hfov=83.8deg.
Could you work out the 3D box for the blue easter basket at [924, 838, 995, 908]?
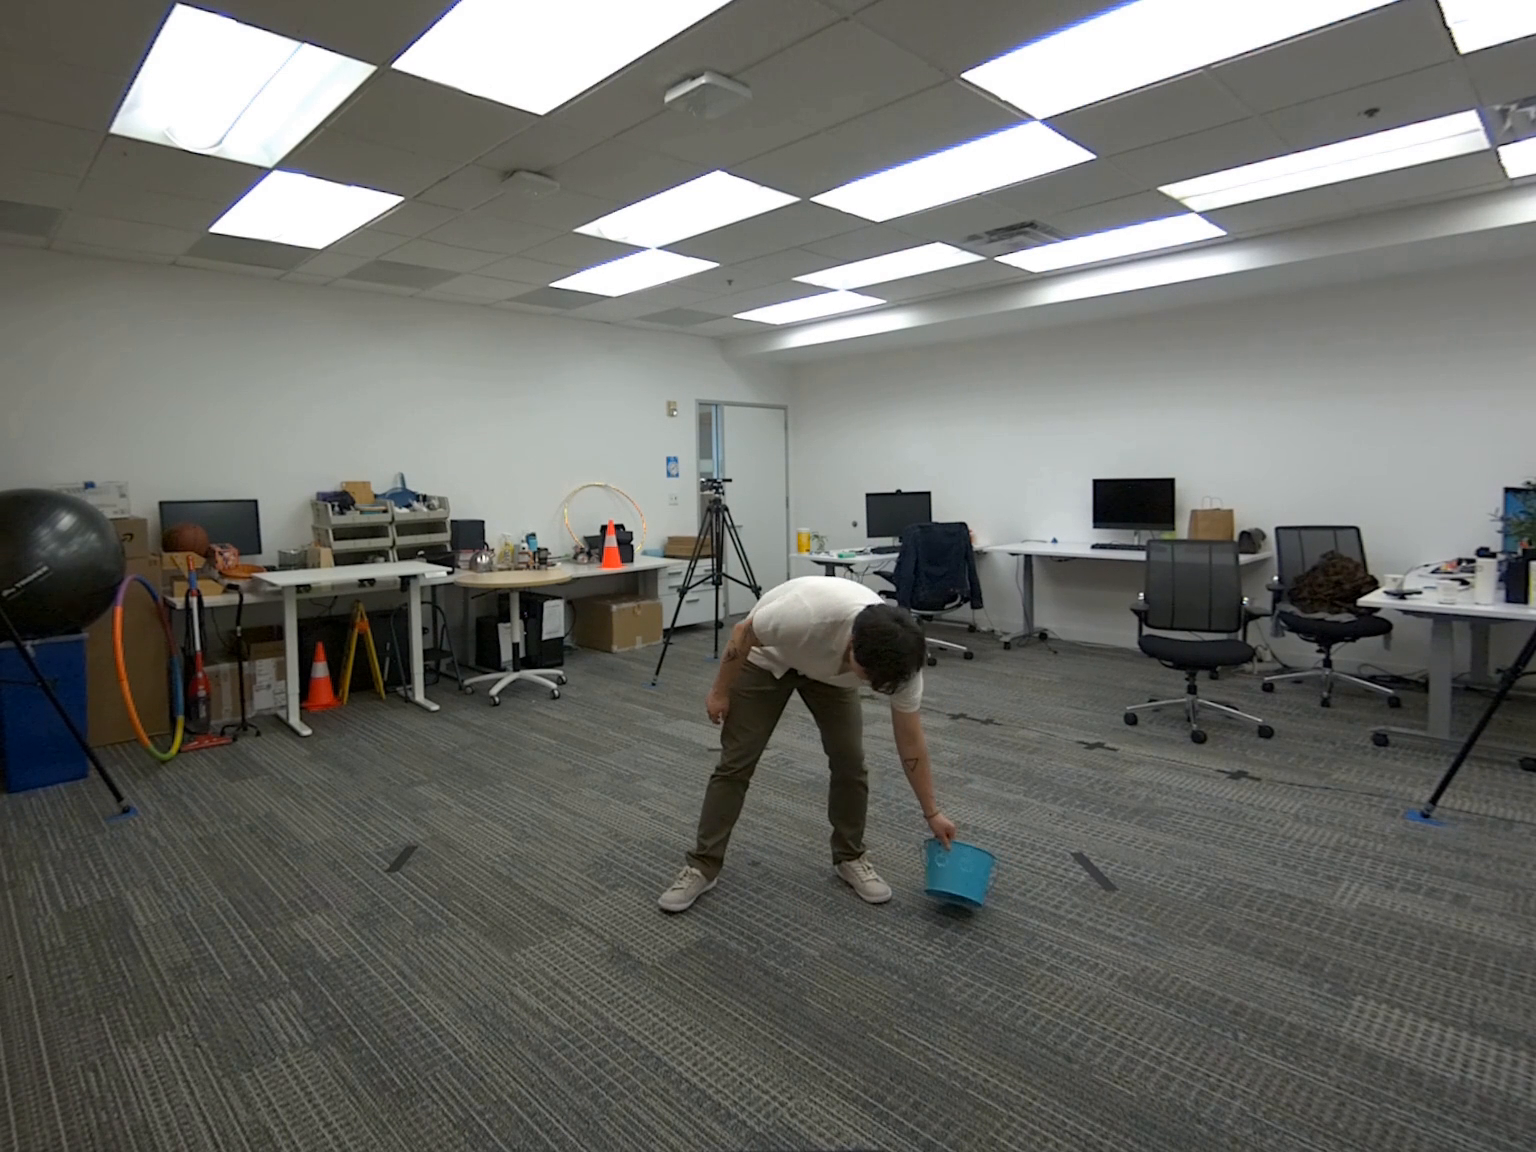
[{"bbox_3d":[0.608,0.959,2.754,0.245,0.158,0.238,15,-25,5],"label":"blue easter basket"}]
